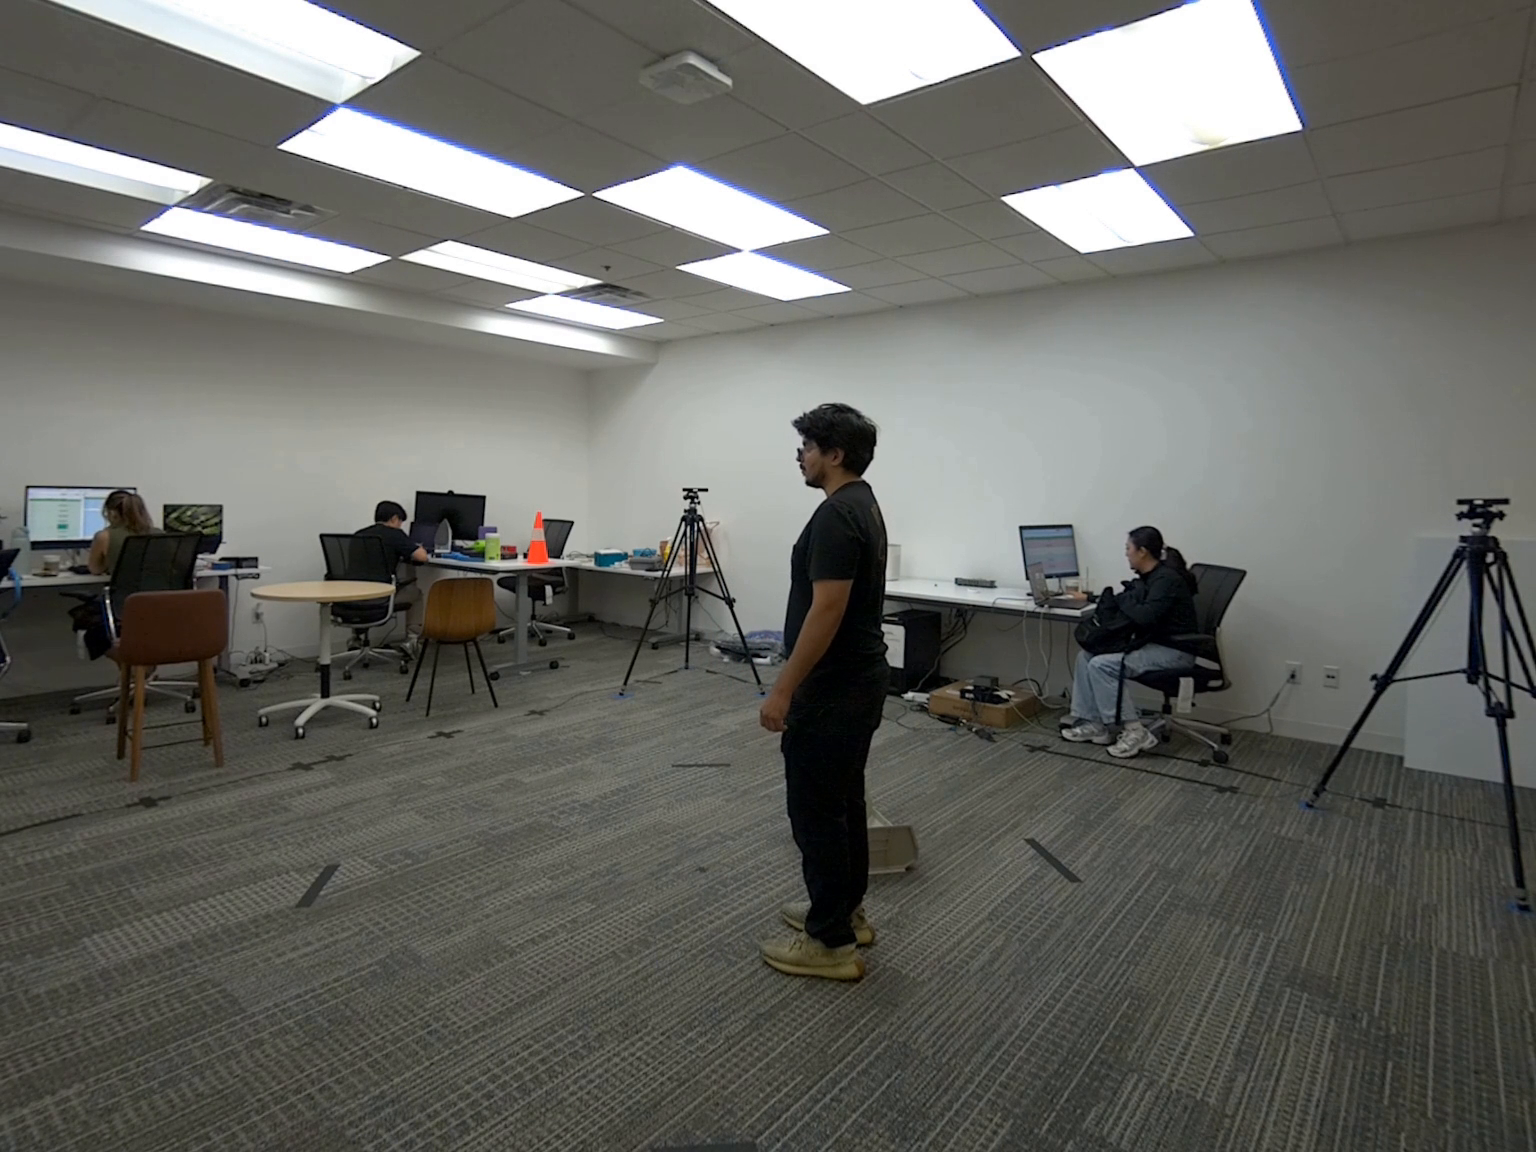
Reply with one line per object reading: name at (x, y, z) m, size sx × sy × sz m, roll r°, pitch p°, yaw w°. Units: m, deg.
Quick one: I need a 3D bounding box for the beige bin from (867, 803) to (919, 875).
beige bin at (0.319, 0.973, 3.290) m, size 0.372 × 0.188 × 0.430 m, roll -1°, pitch 6°, yaw -15°
